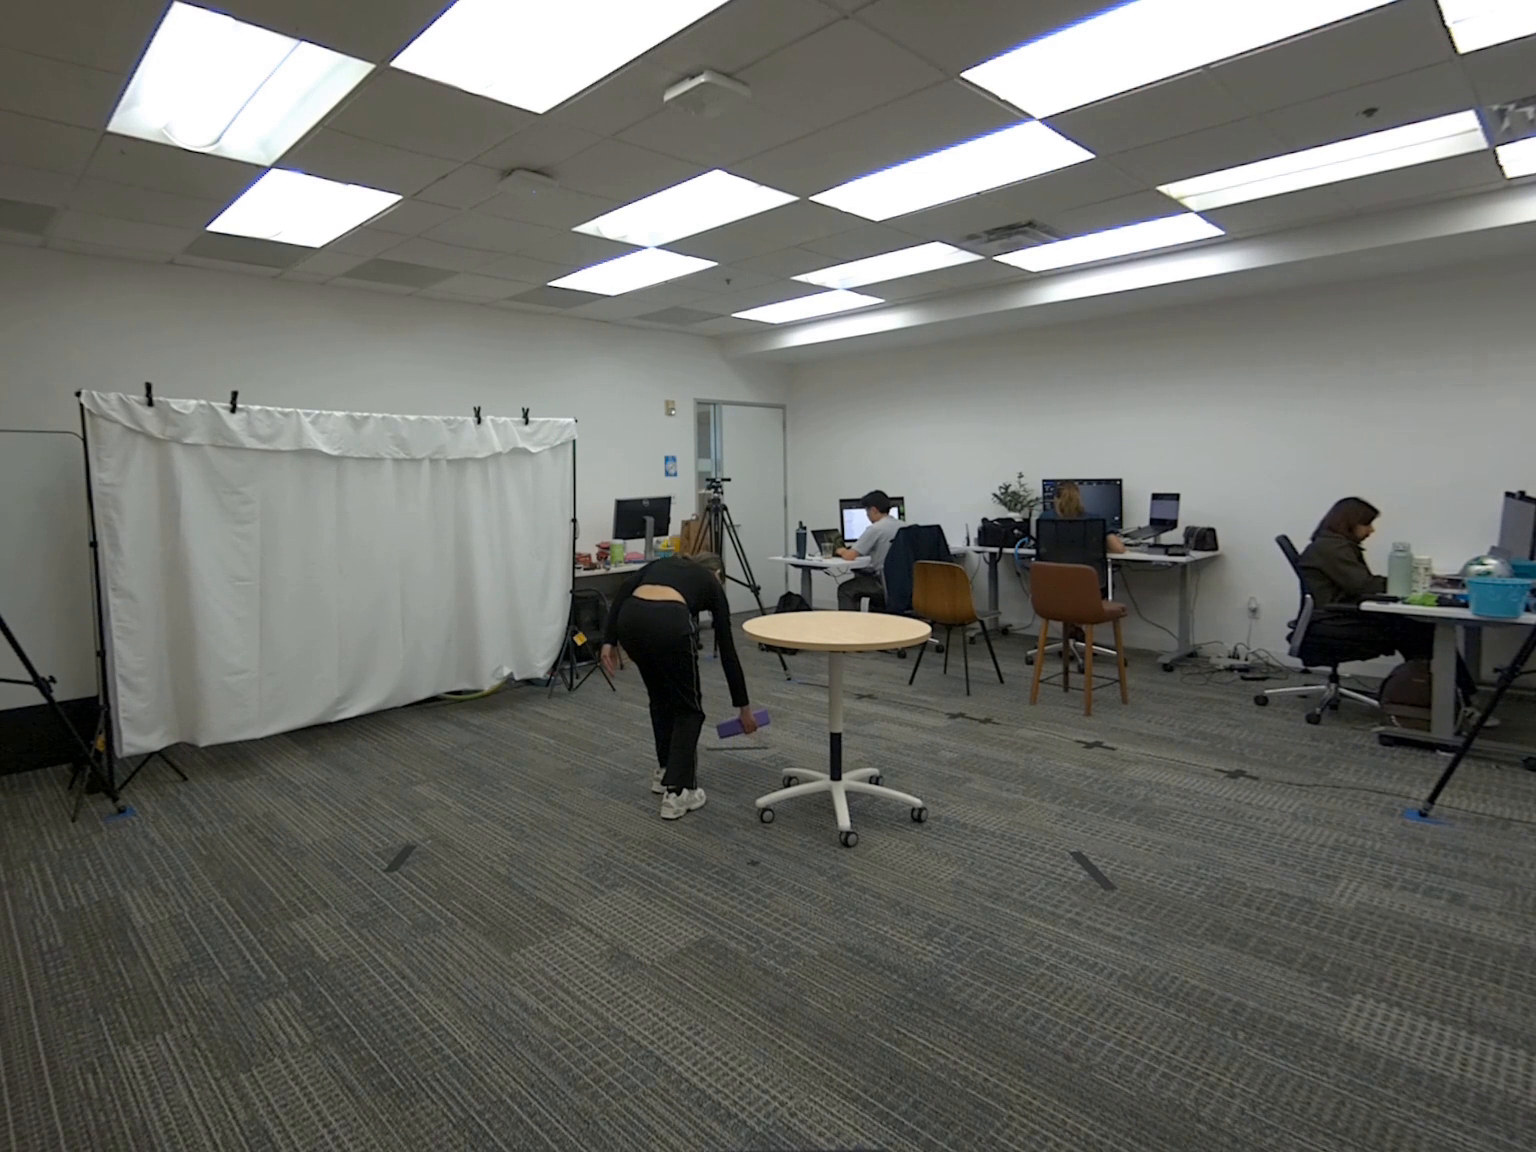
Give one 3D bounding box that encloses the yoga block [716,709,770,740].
[{"bbox_3d":[-0.125,0.711,4.121,0.151,0.077,0.223,-18,-8,36],"label":"yoga block"}]
